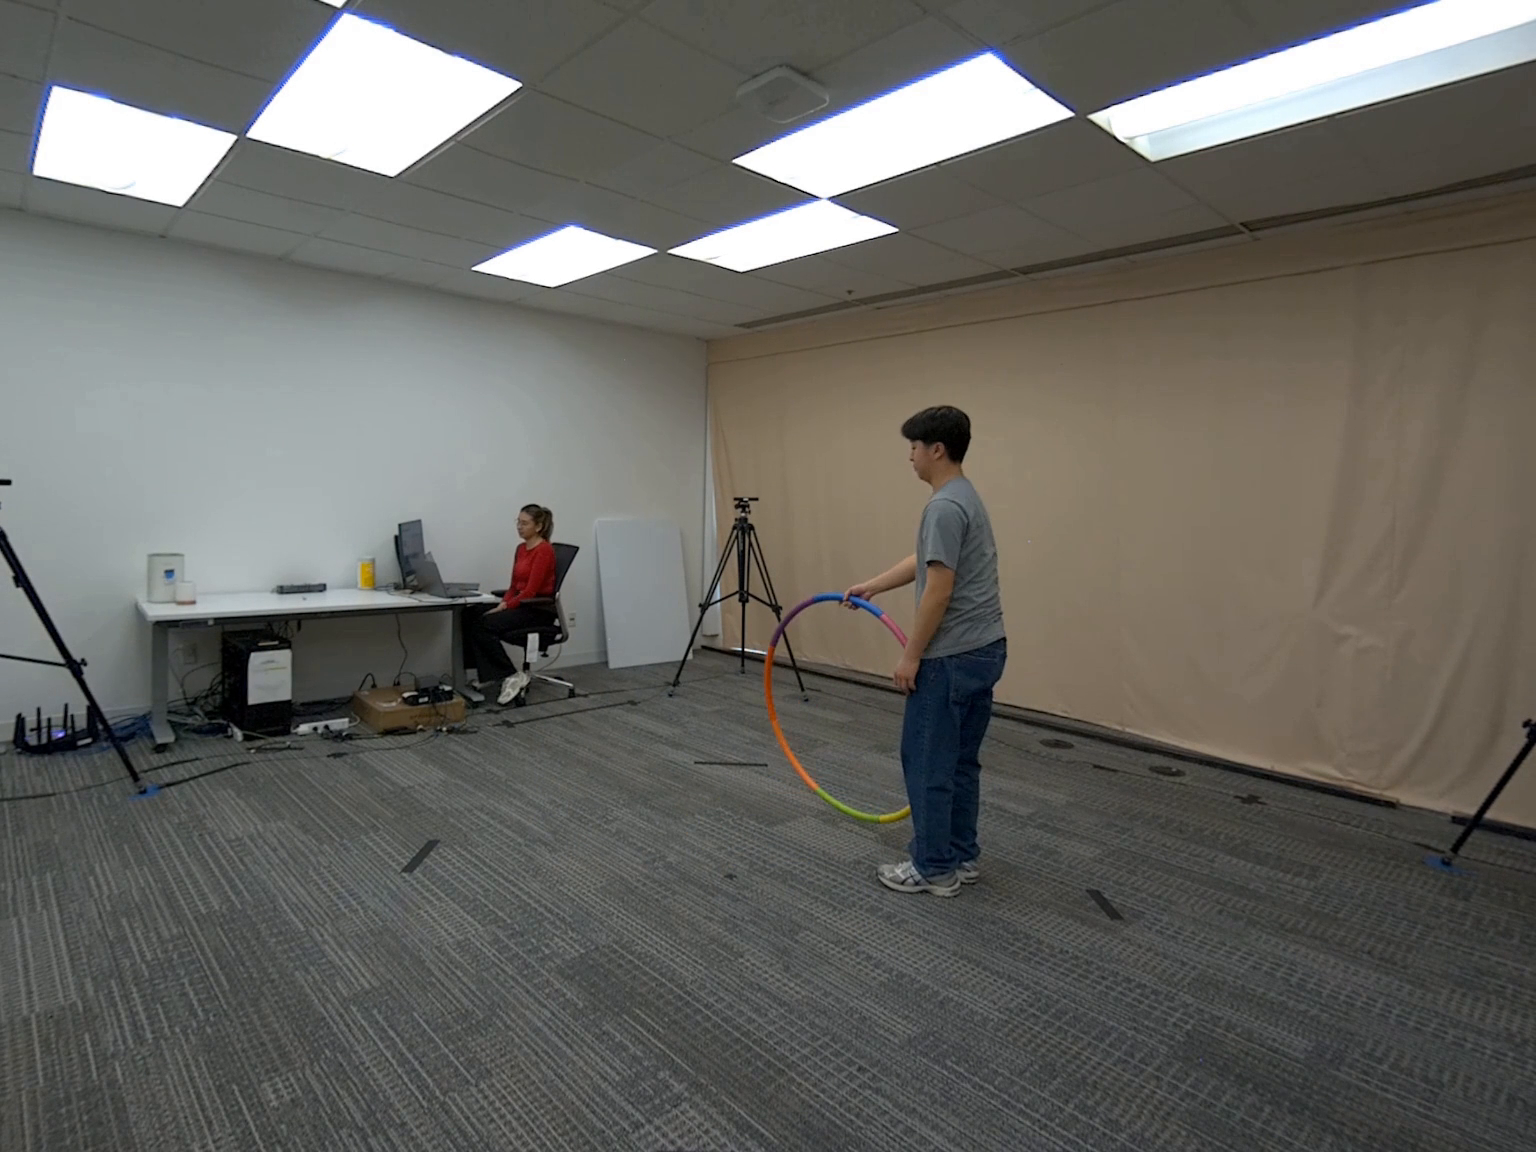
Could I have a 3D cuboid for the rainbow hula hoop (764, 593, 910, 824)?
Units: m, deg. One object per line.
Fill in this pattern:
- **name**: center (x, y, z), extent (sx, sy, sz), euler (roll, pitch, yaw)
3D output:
- **rainbow hula hoop**: center (0.286, 0.566, 3.596), extent (0.035, 0.972, 1.004), euler (-11, 11, -40)
